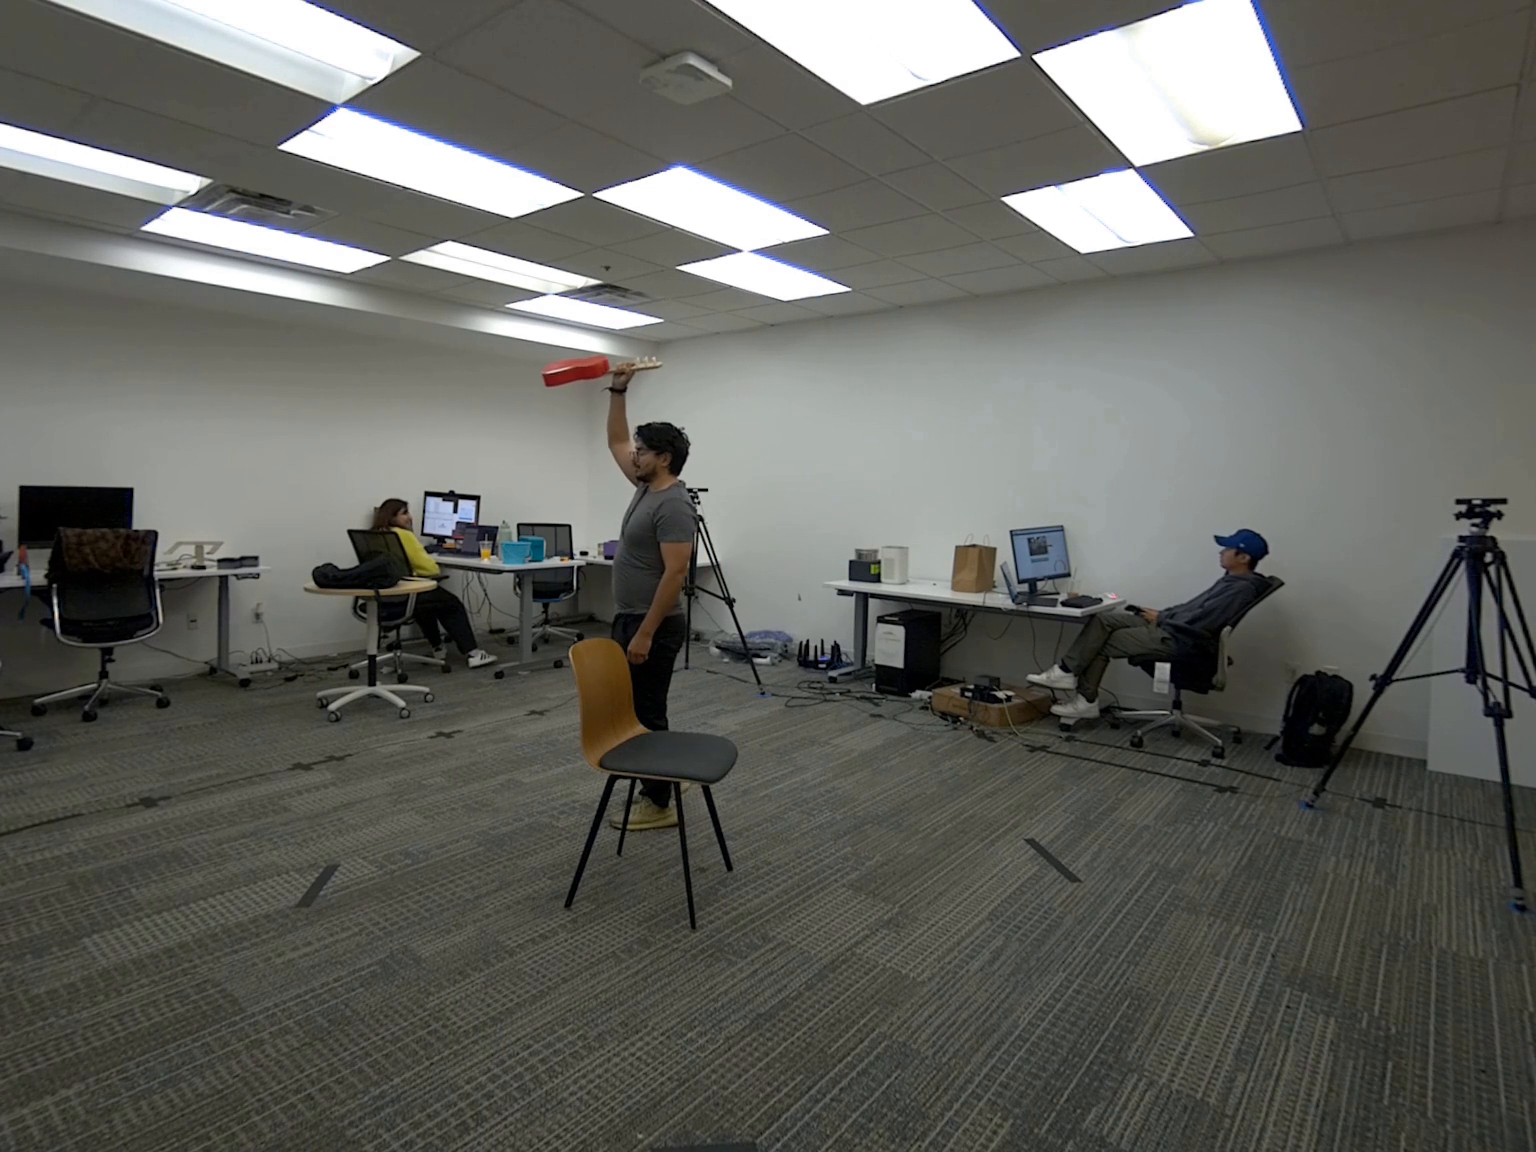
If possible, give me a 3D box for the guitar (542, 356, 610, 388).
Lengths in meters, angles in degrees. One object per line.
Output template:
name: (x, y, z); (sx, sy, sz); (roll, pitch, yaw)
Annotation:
guitar: (-0.697, -0.869, 3.515); (0.499, 0.069, 0.198); (-9, 28, 3)
